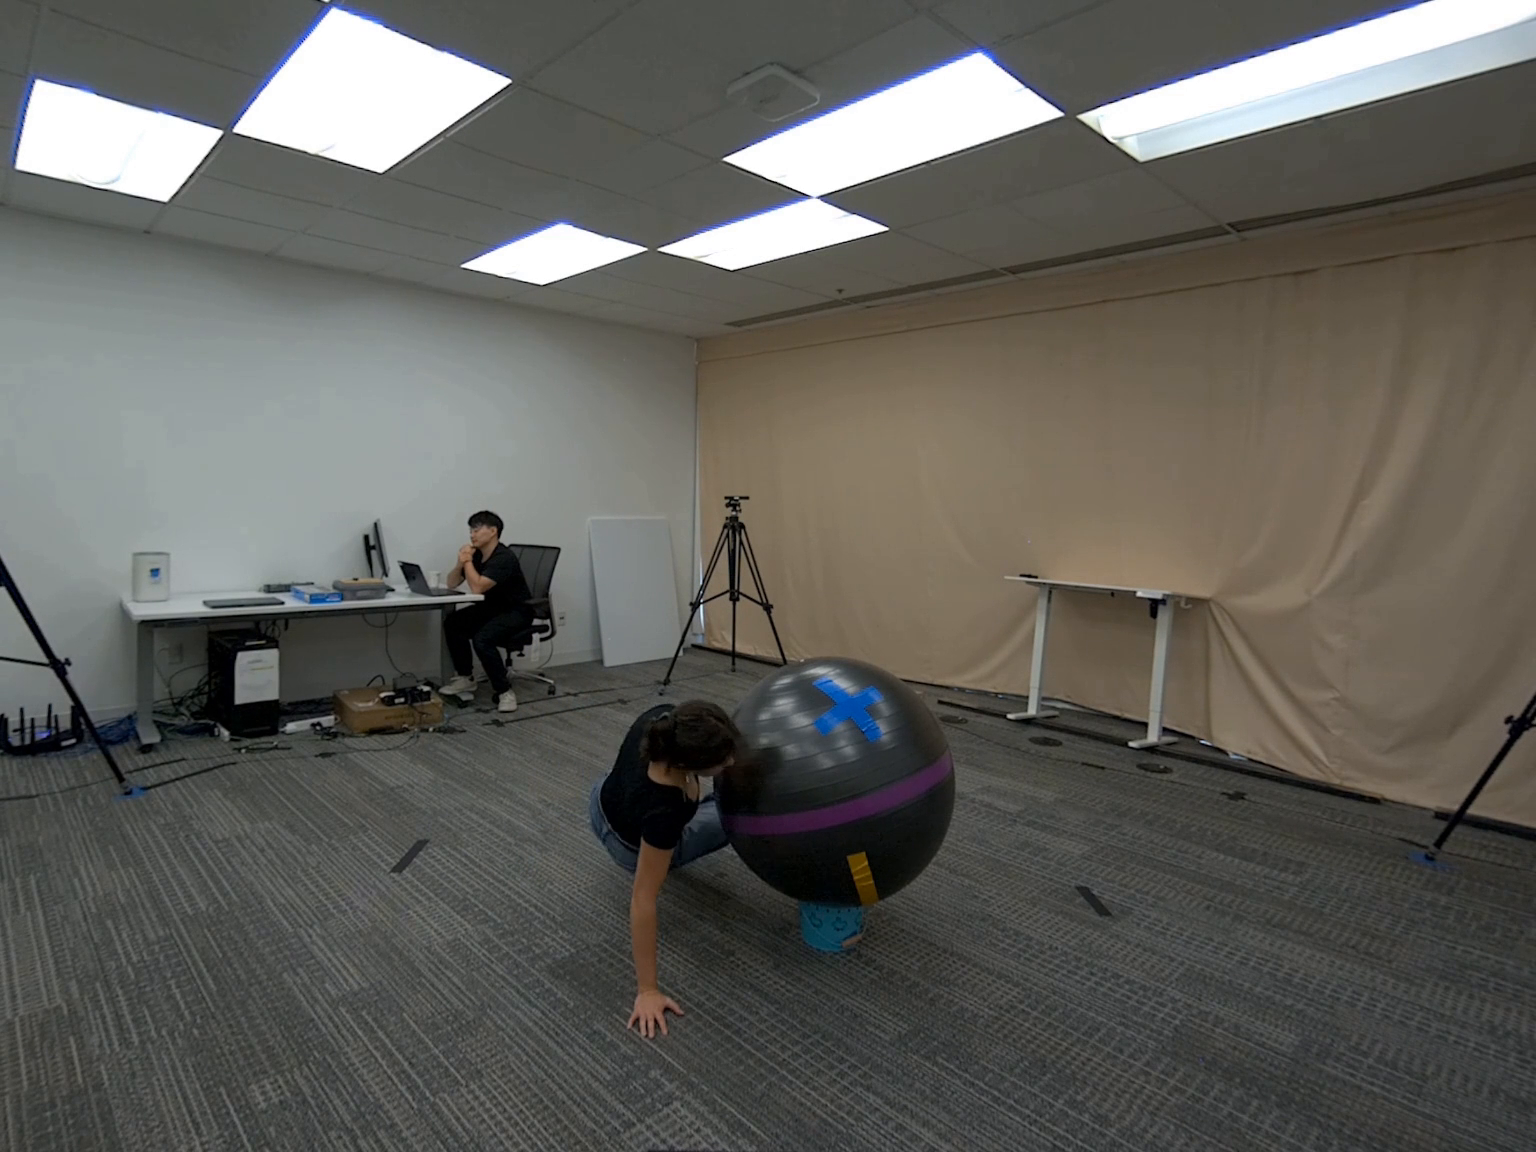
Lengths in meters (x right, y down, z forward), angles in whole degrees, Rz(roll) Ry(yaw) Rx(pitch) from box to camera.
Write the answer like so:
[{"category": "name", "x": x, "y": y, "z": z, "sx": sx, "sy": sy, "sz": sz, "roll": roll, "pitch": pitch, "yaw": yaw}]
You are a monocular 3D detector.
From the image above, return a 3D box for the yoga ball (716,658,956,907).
[{"category": "yoga ball", "x": 0.205, "y": 0.646, "z": 2.655, "sx": 0.757, "sy": 0.756, "sz": 0.761, "roll": 1, "pitch": 4, "yaw": -1}]
